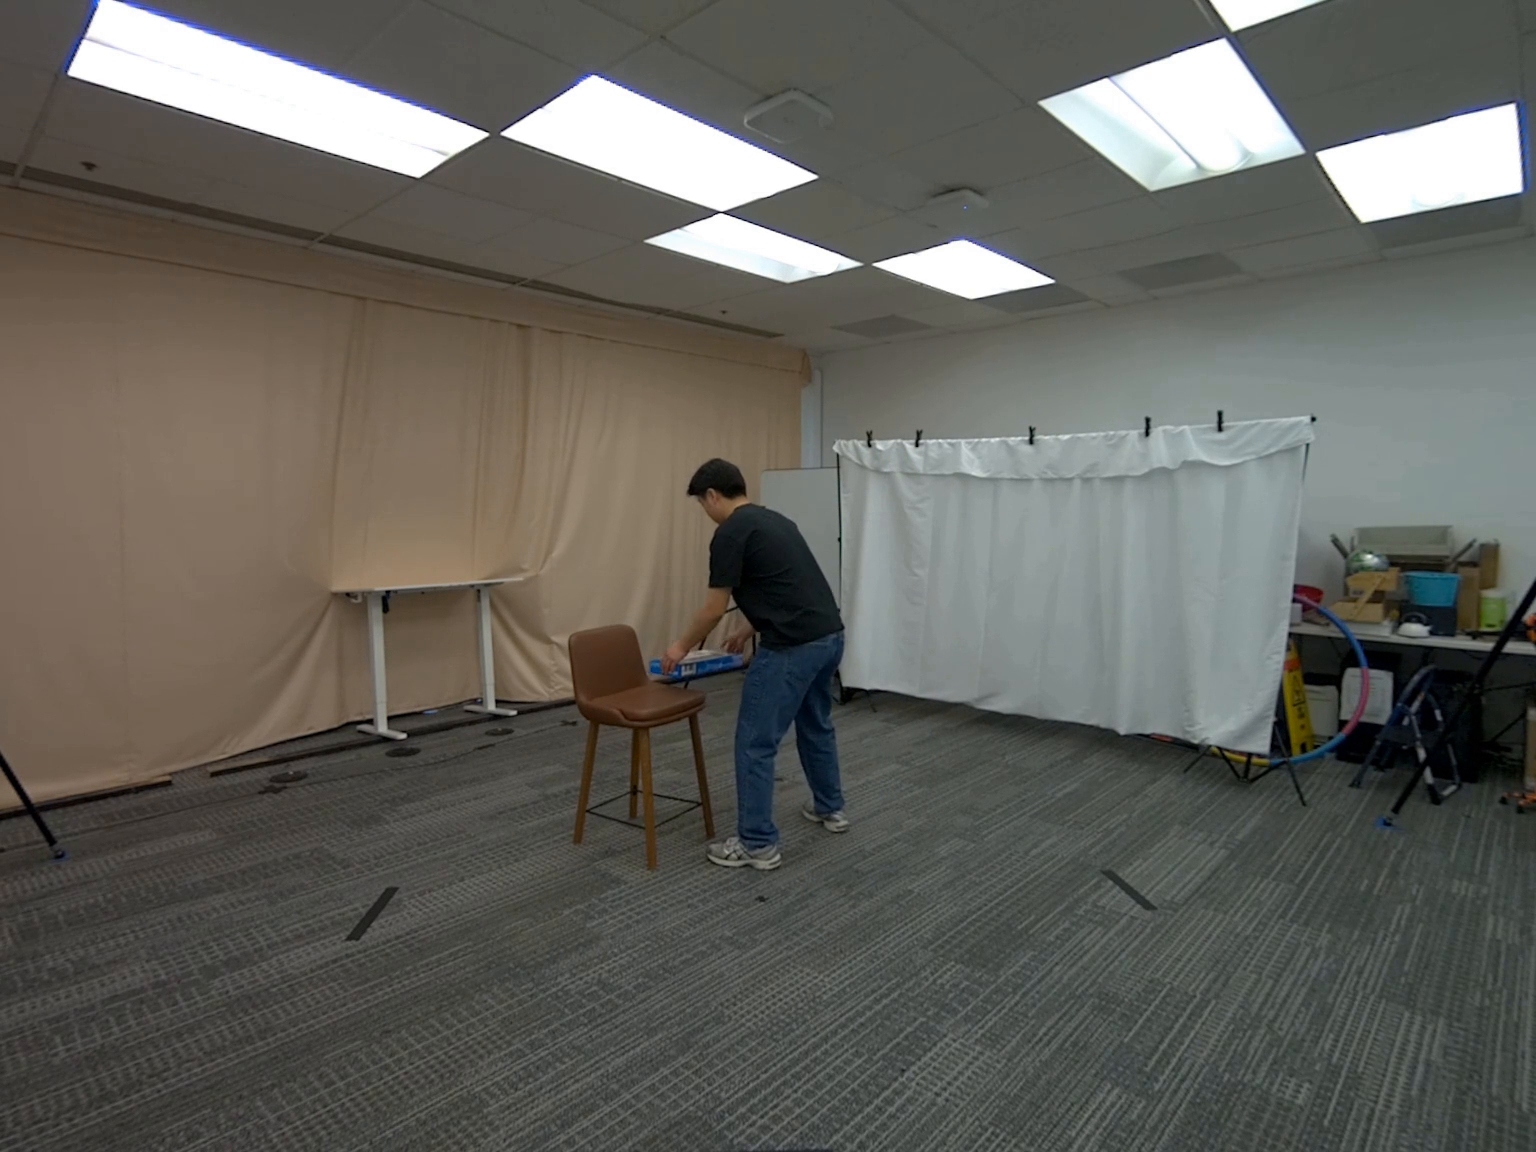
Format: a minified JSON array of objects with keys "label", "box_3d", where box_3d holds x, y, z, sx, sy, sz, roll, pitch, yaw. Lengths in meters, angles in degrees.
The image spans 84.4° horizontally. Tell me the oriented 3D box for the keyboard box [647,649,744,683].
[{"label":"keyboard box","box_3d":[-0.310,0.391,3.693,0.182,0.059,0.423,4,5,38]}]
